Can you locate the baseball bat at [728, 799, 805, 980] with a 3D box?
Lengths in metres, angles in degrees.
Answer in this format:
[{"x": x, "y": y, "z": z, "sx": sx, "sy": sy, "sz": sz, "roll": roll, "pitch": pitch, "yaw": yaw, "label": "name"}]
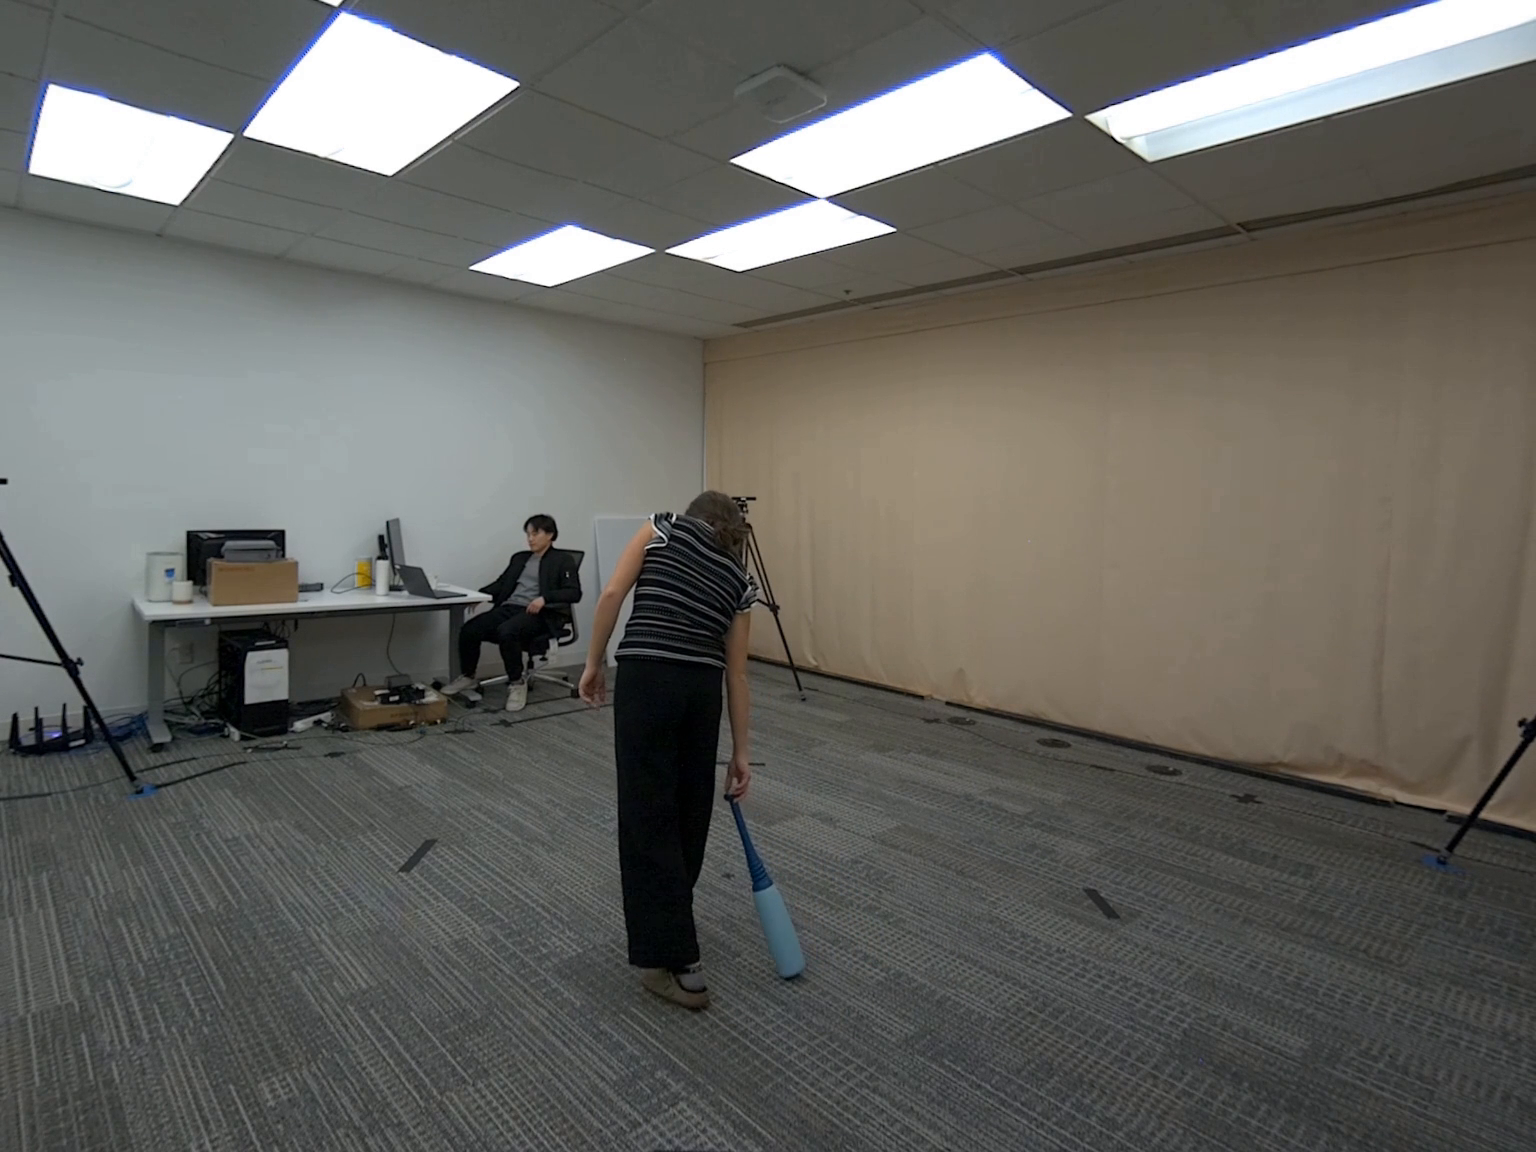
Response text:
[{"x": -0.035, "y": 0.917, "z": 2.504, "sx": 0.089, "sy": 0.549, "sz": 0.088, "roll": -21, "pitch": -11, "yaw": -5, "label": "baseball bat"}]
